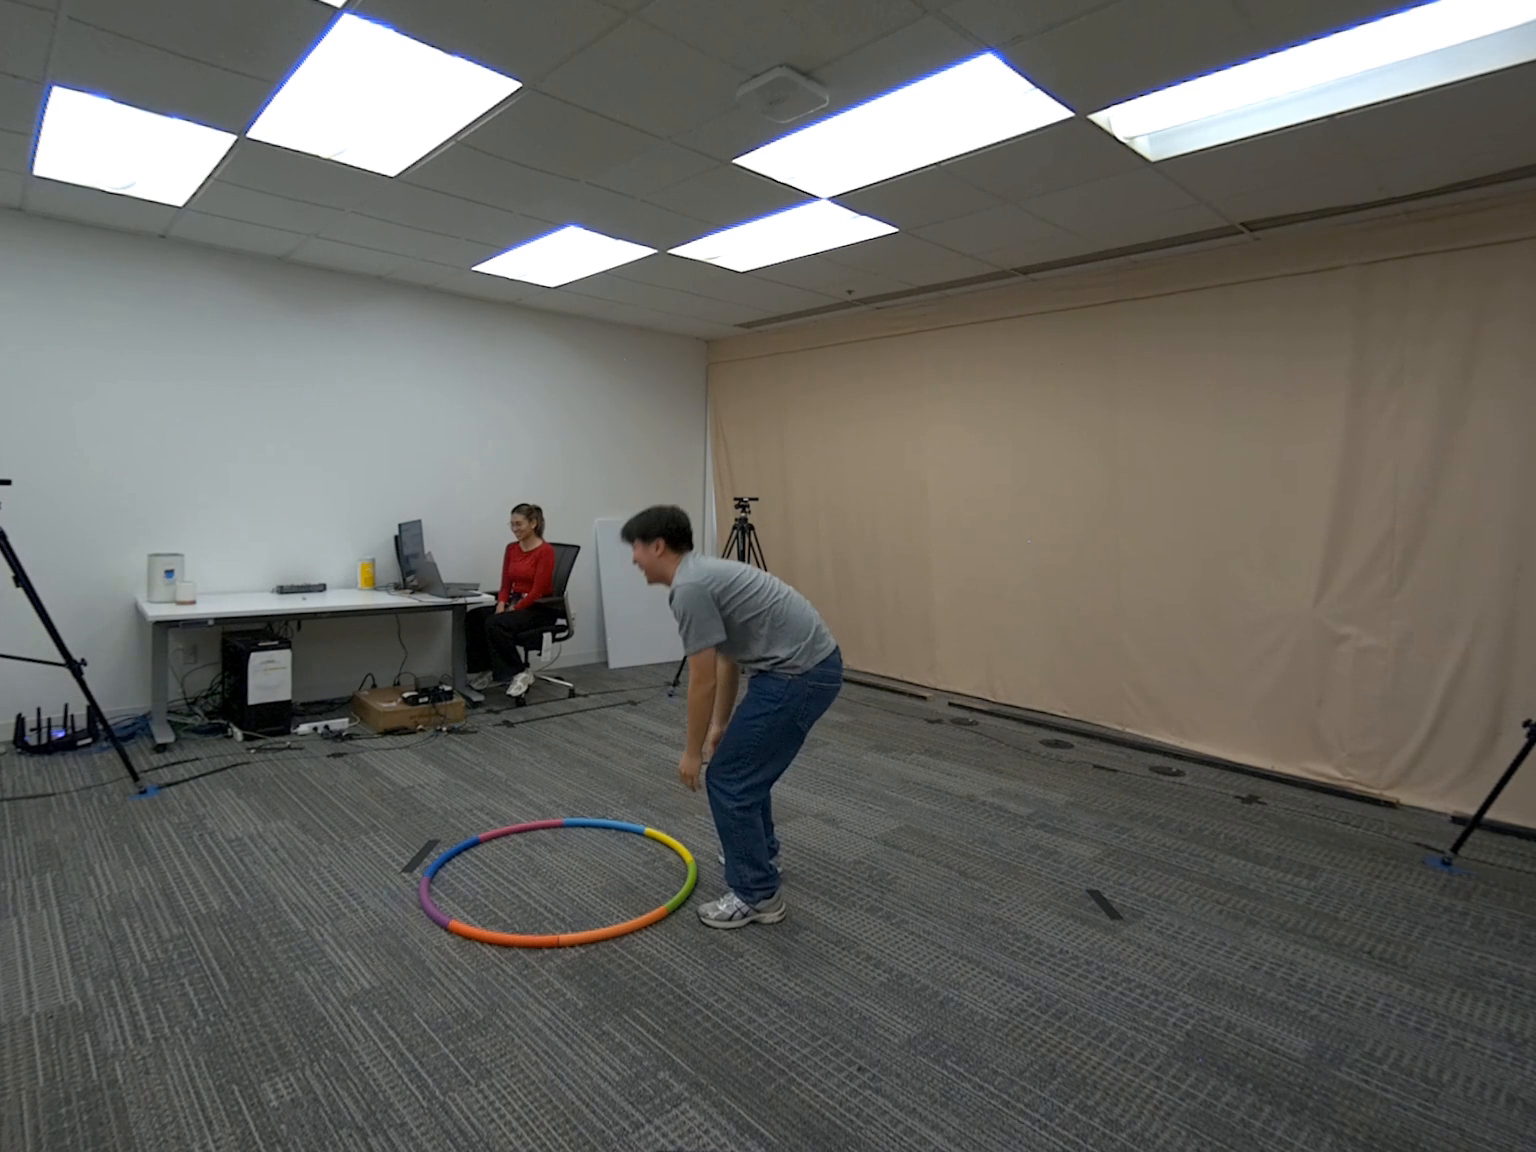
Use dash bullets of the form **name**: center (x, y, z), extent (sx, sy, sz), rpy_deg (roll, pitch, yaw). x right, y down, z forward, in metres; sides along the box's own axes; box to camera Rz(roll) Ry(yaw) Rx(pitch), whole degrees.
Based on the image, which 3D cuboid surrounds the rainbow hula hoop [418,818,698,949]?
- **rainbow hula hoop**: center (-0.755, 1.067, 3.066), extent (0.978, 0.035, 0.982), rpy_deg (1, 5, -1)
